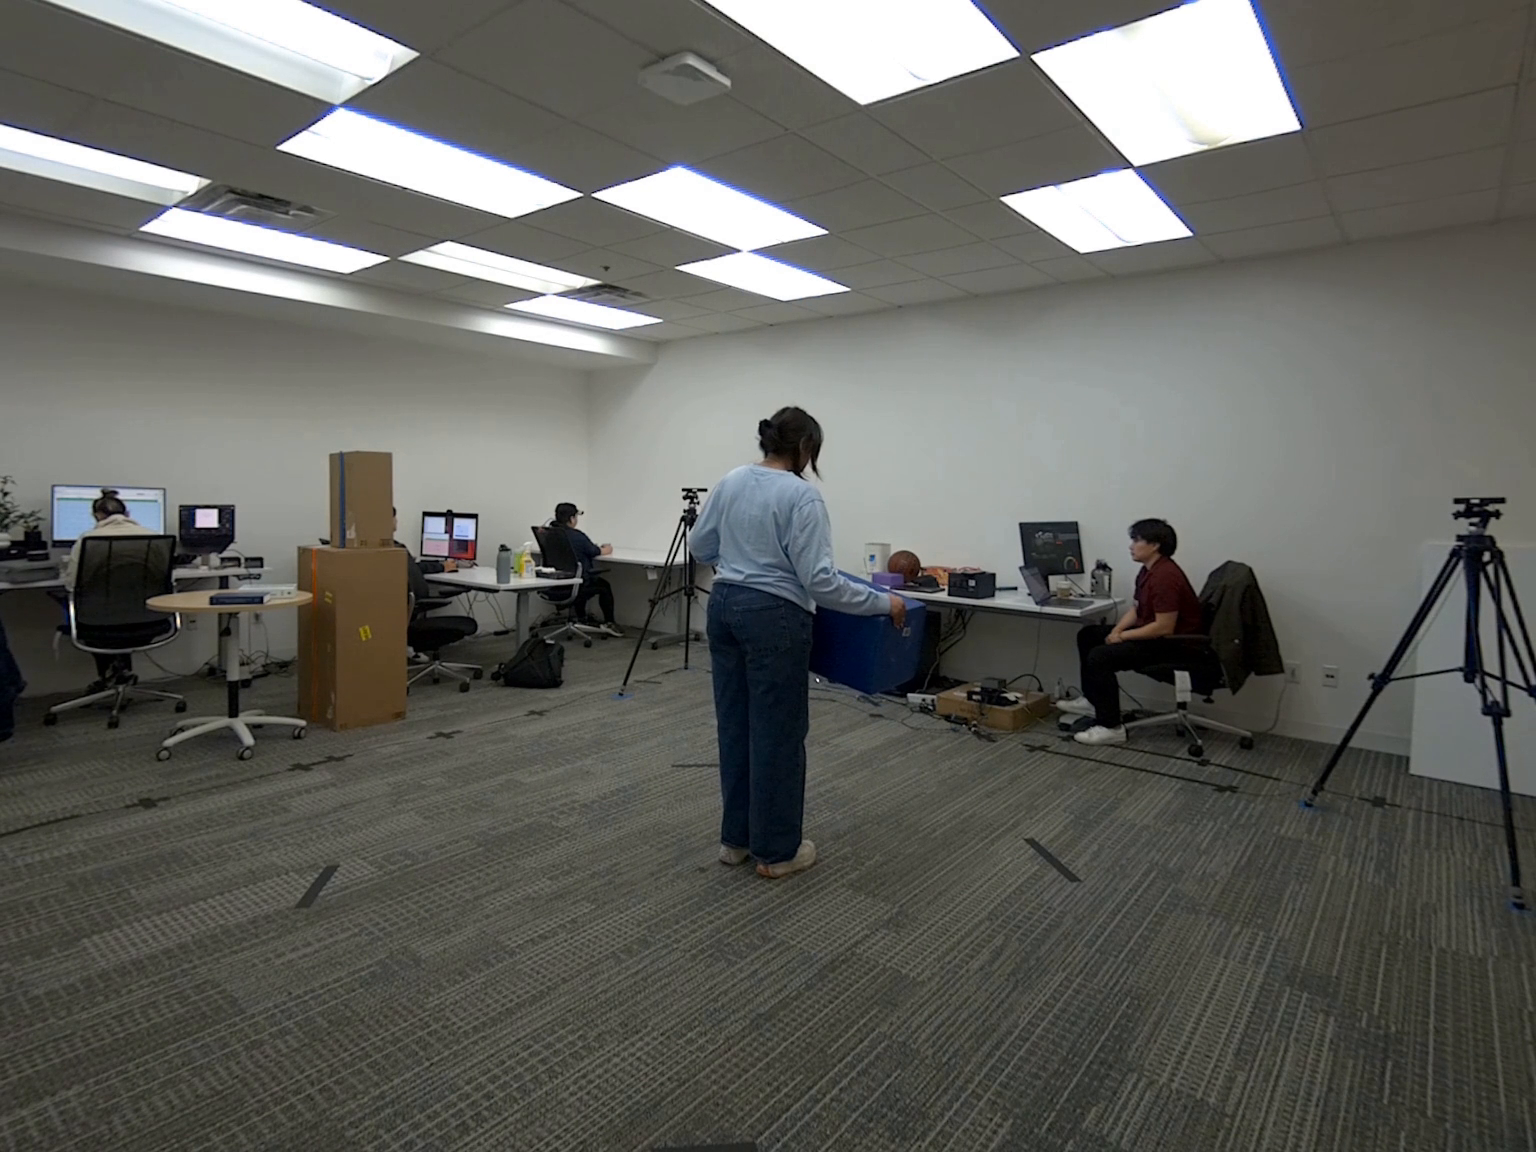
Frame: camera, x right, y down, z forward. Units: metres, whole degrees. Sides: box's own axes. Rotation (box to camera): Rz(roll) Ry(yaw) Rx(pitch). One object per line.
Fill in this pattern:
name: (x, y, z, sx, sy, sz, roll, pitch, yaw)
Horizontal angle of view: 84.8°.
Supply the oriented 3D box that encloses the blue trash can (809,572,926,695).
blue trash can: (0.218, 0.160, 3.324, 0.741, 0.369, 0.368, 20, 19, 38)
